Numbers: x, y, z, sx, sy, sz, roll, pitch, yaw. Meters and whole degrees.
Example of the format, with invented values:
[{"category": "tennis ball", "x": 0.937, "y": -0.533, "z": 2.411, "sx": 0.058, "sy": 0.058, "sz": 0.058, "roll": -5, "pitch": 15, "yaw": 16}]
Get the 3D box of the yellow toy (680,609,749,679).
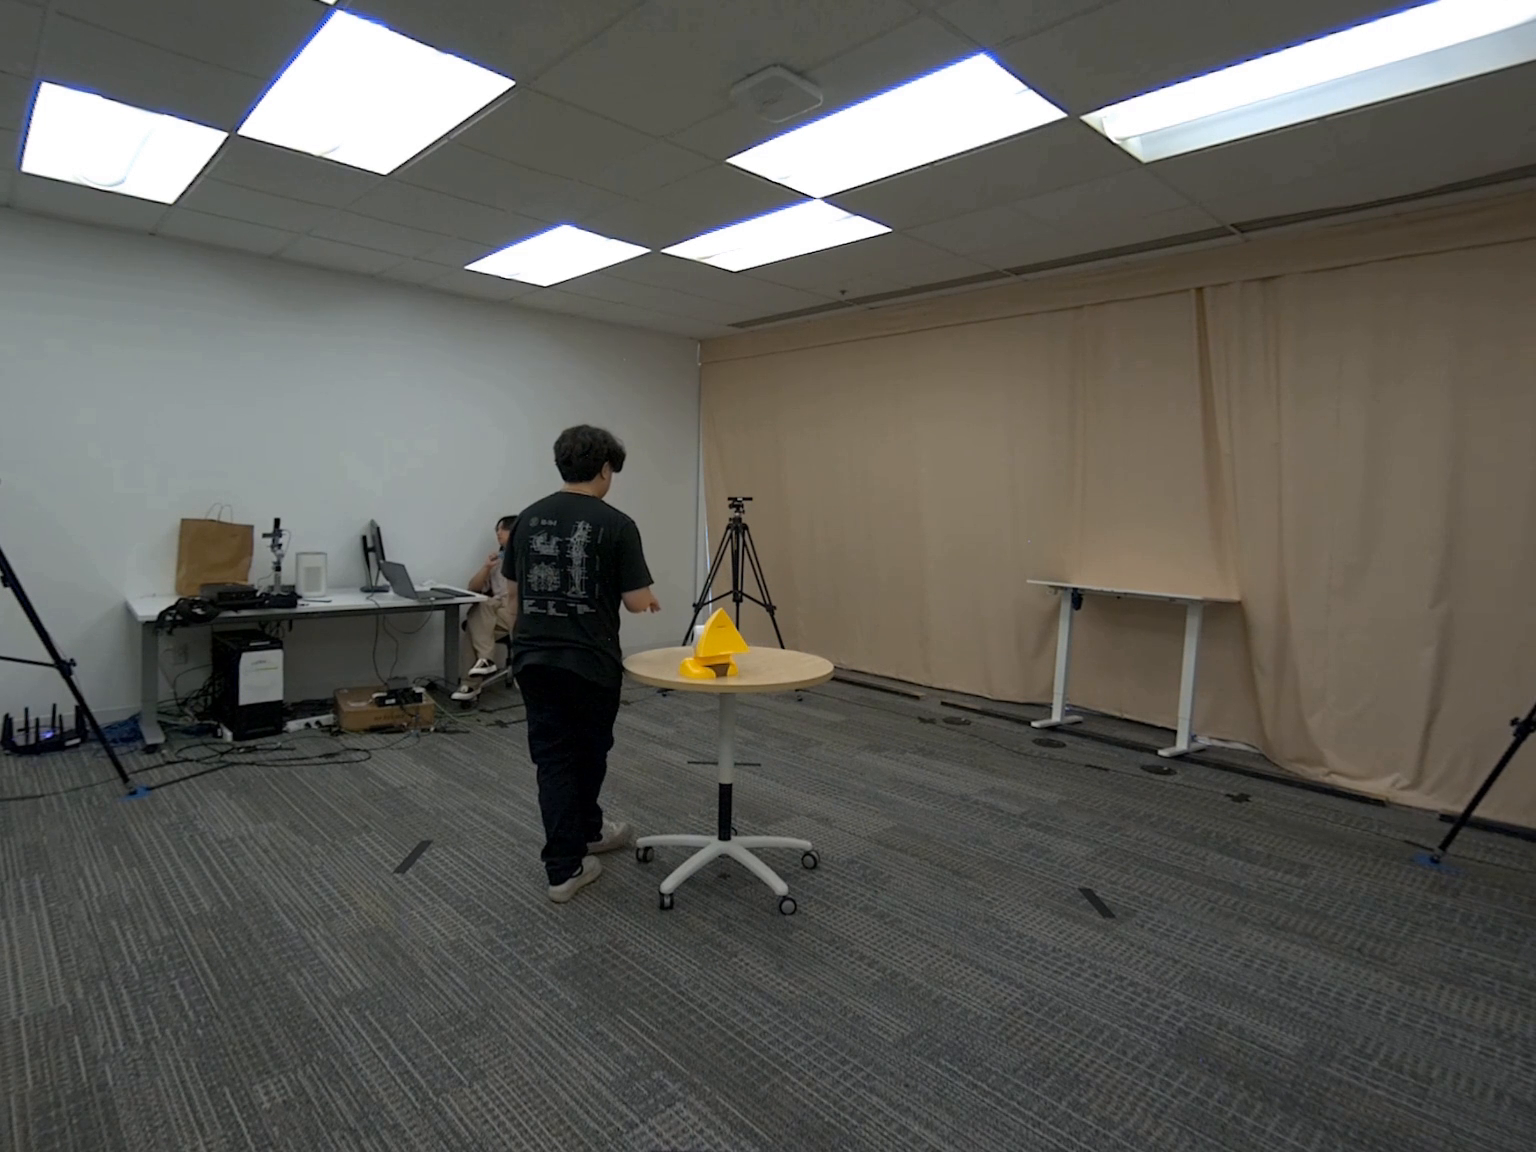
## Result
[{"category": "yellow toy", "x": -0.206, "y": 0.218, "z": 2.856, "sx": 0.200, "sy": 0.230, "sz": 0.198, "roll": -2, "pitch": 5, "yaw": -38}]
